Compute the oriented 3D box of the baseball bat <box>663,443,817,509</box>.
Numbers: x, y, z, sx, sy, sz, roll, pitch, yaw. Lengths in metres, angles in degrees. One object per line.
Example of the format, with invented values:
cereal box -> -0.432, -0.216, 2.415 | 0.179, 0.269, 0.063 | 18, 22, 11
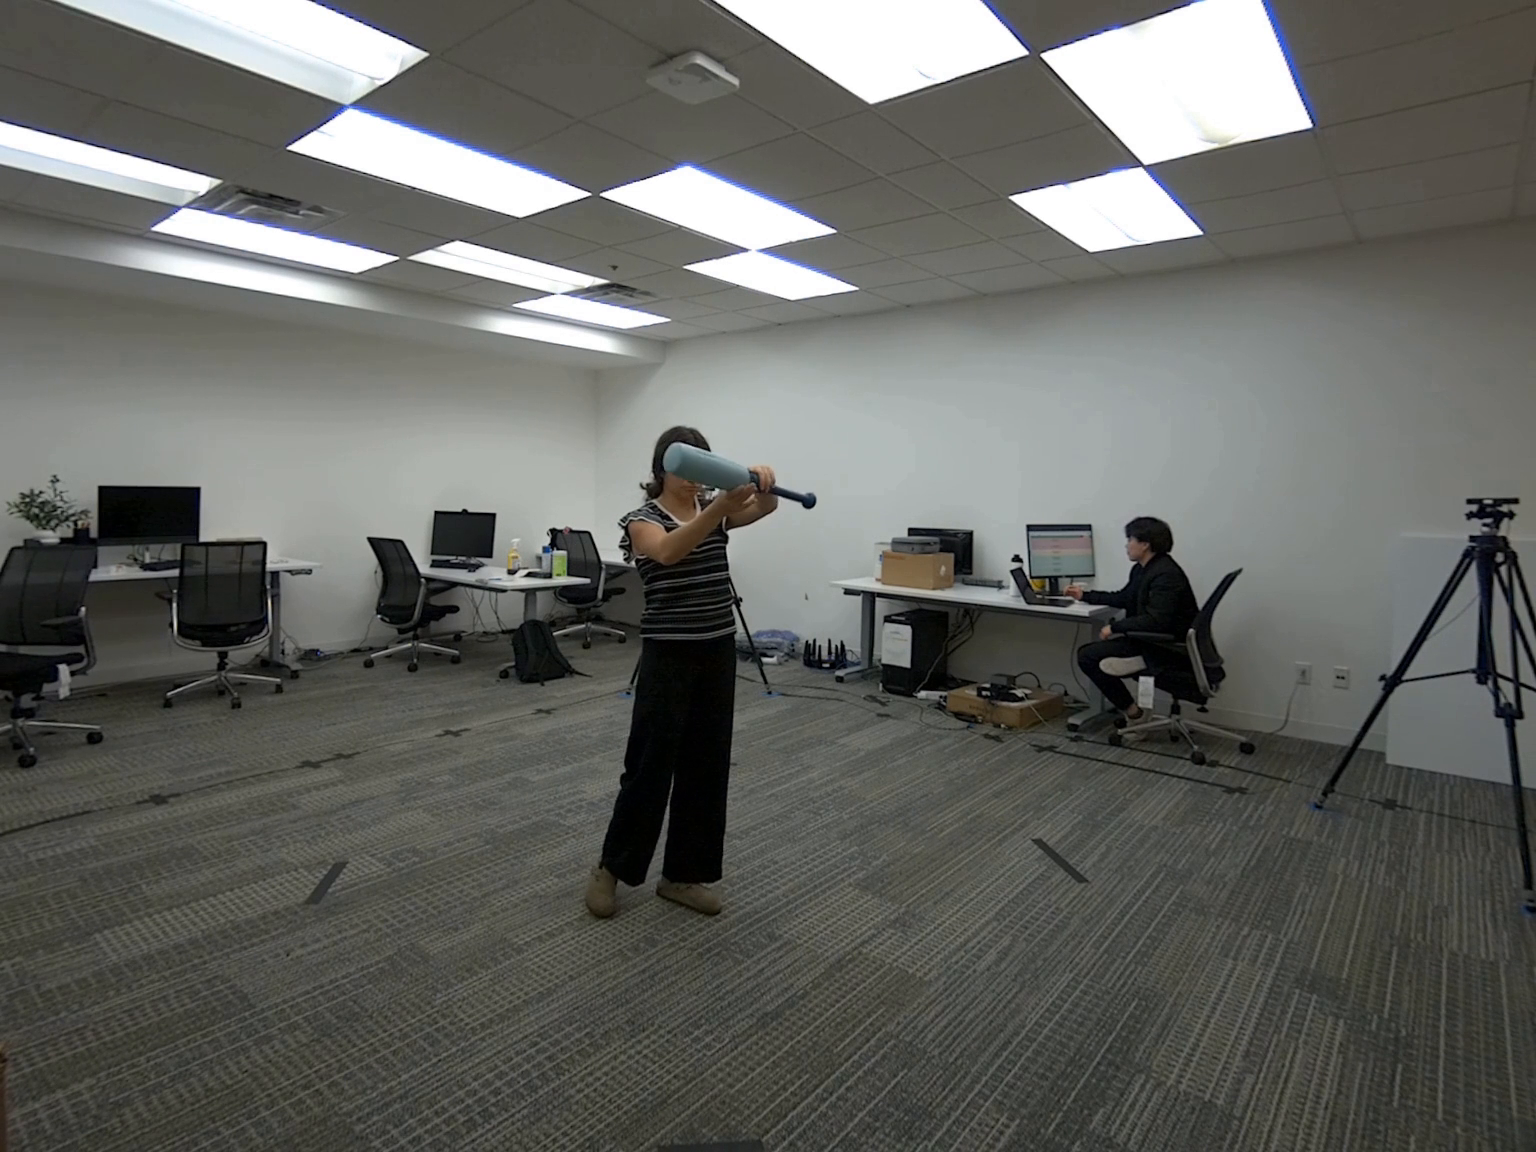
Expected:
baseball bat -> -0.065, -0.262, 2.354 | 0.523, 0.089, 0.092 | 13, -5, -43
